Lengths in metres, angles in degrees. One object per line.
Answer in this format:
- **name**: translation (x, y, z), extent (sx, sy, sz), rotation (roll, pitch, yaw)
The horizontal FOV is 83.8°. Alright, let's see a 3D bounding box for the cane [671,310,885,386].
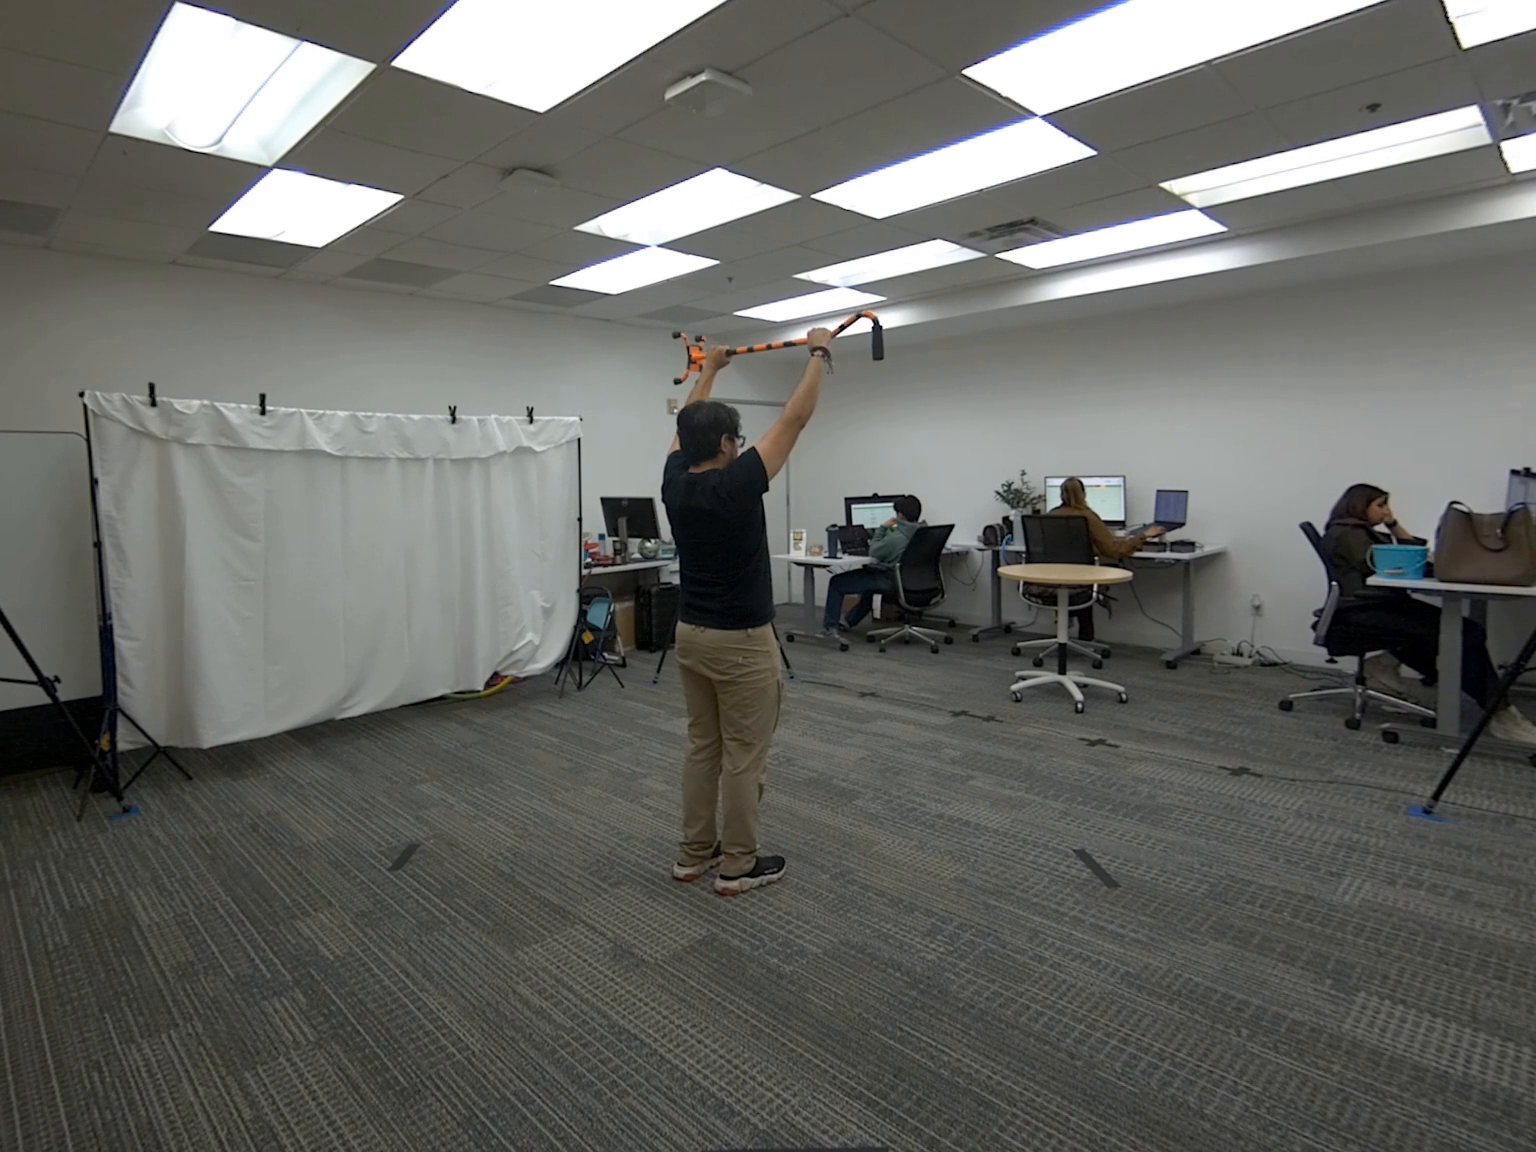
- **cane**: translation (0.024, -0.819, 3.049), extent (0.936, 0.205, 0.148), rotation (5, 10, 43)
